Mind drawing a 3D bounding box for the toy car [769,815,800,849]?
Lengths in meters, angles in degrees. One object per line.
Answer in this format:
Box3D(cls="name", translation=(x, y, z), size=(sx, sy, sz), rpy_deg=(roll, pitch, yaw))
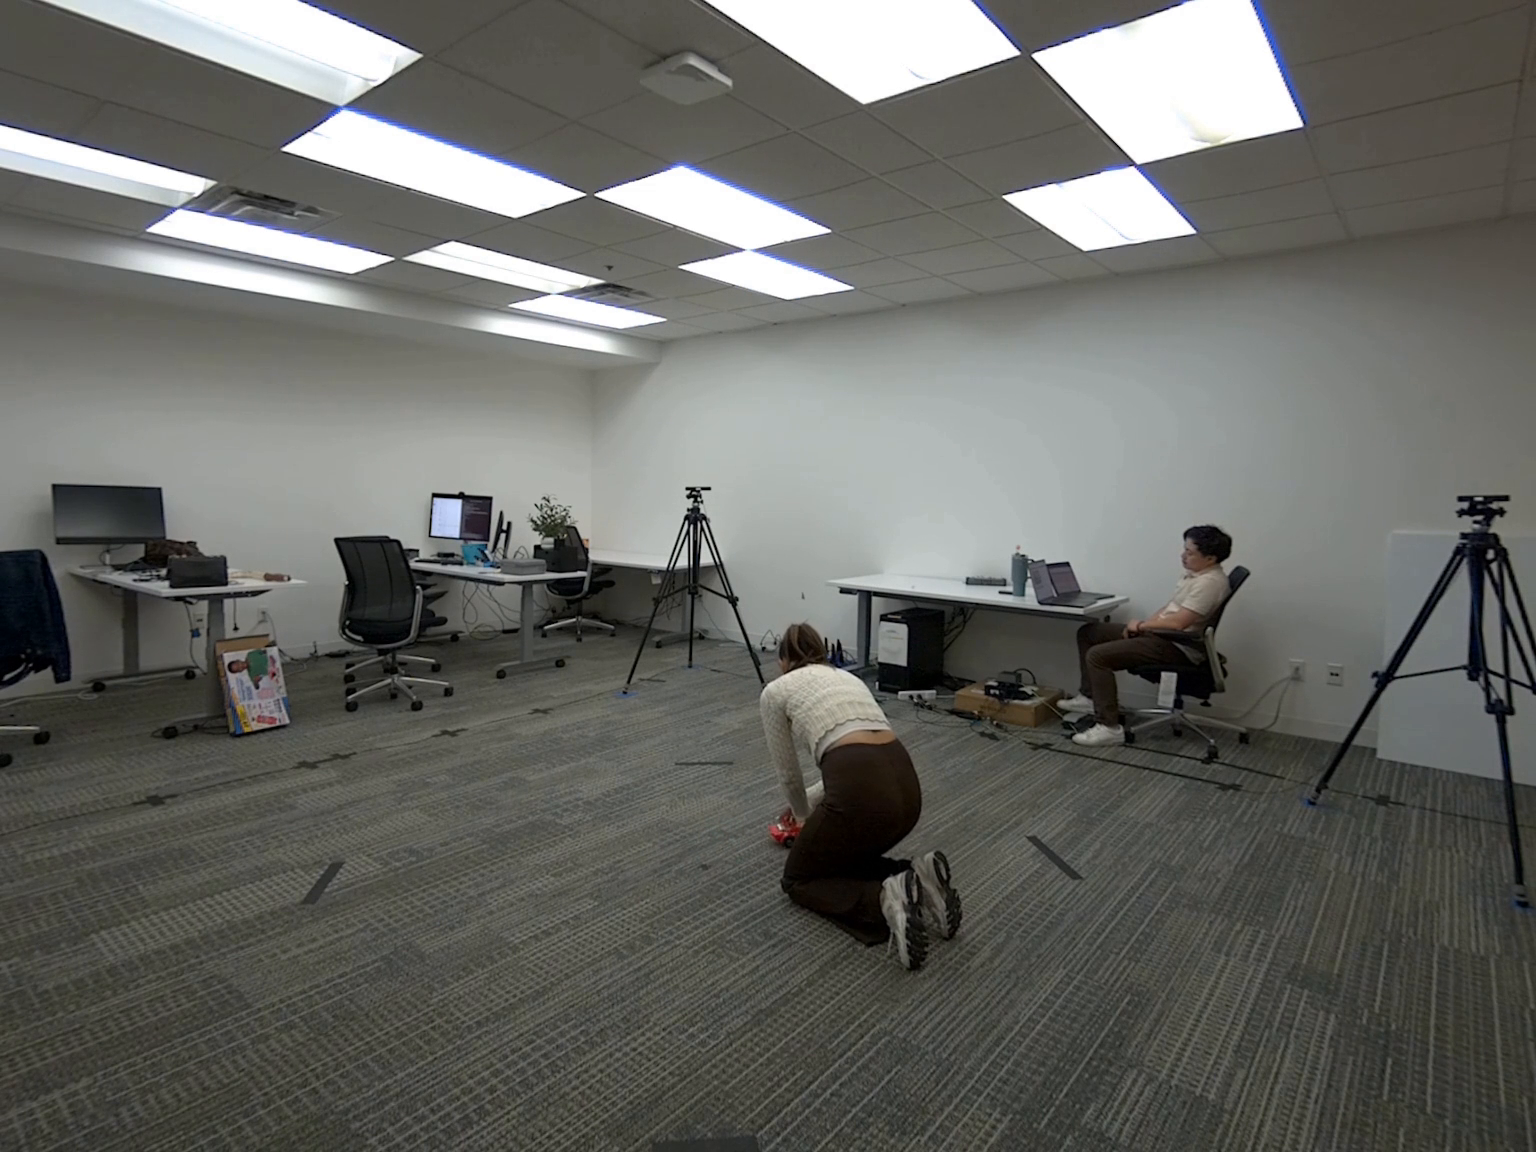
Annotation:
Box3D(cls="toy car", translation=(0.117, 1.014, 3.350), size=(0.251, 0.083, 0.132), rpy_deg=(9, 3, -10))
